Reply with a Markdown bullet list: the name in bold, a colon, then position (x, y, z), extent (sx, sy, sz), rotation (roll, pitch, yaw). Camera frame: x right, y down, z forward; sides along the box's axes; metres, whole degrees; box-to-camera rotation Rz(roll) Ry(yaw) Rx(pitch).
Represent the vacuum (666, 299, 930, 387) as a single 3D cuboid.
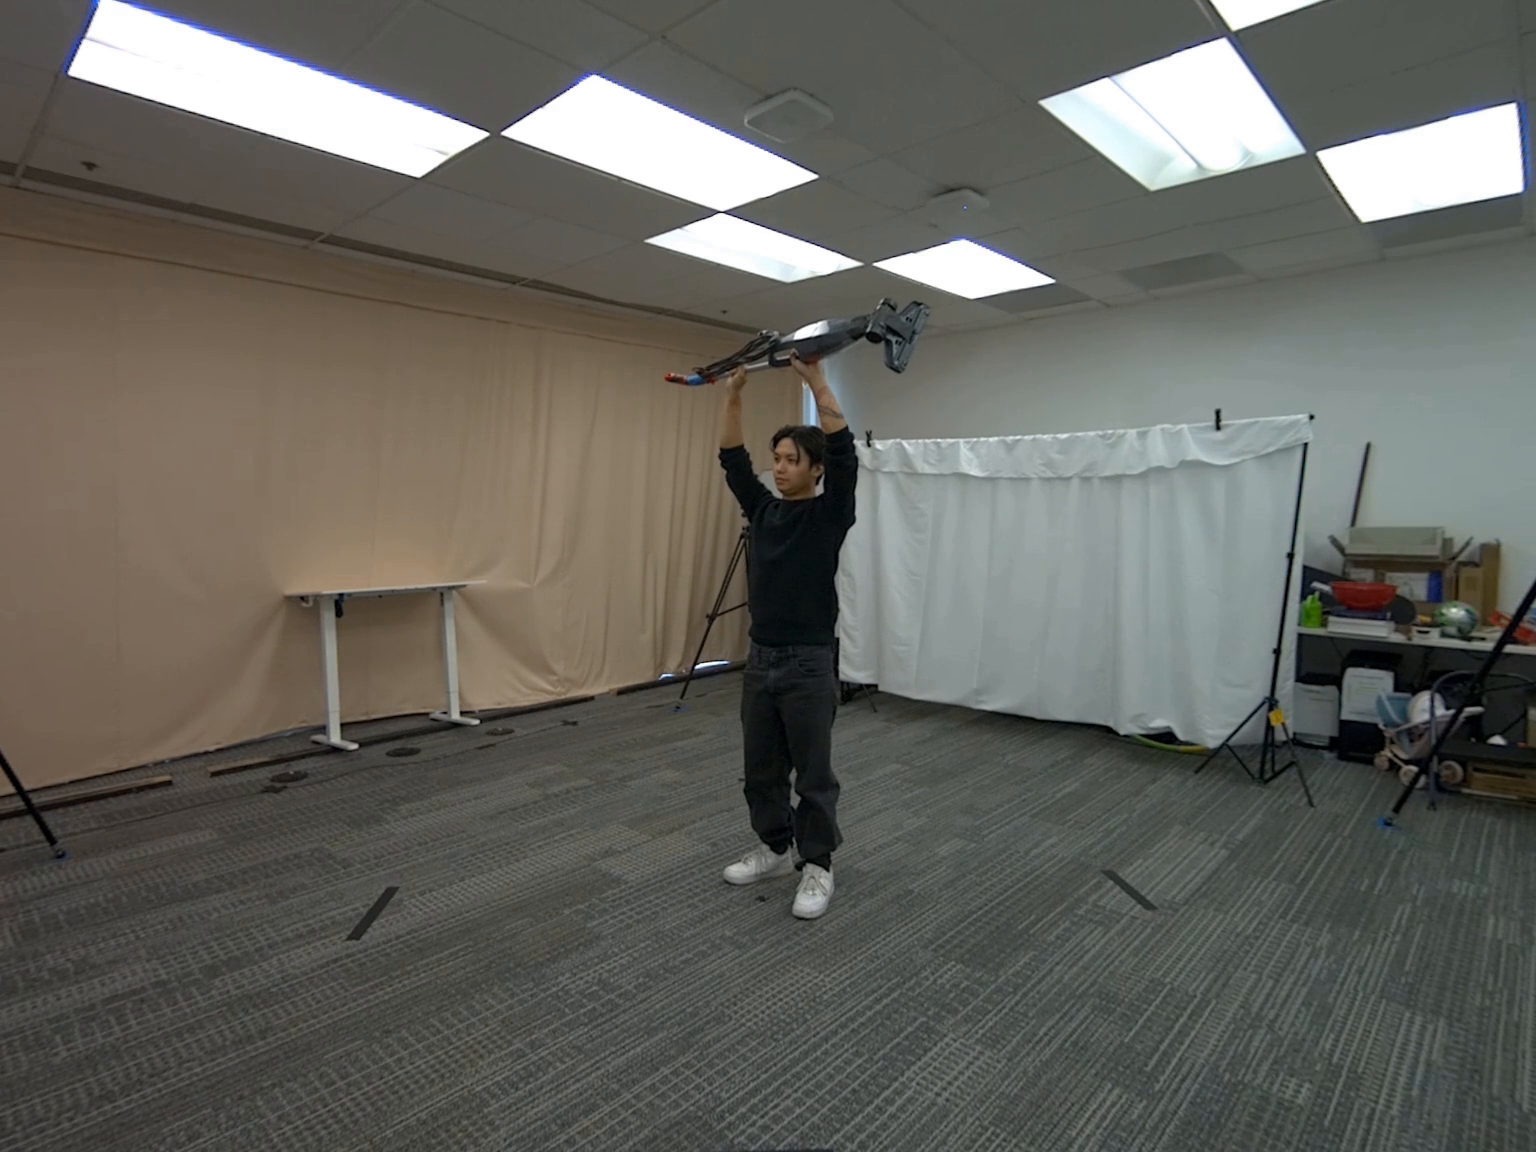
- **vacuum**: position (0.007, -0.741, 2.801), extent (1.084, 0.253, 0.139), rotation (4, -29, 45)
